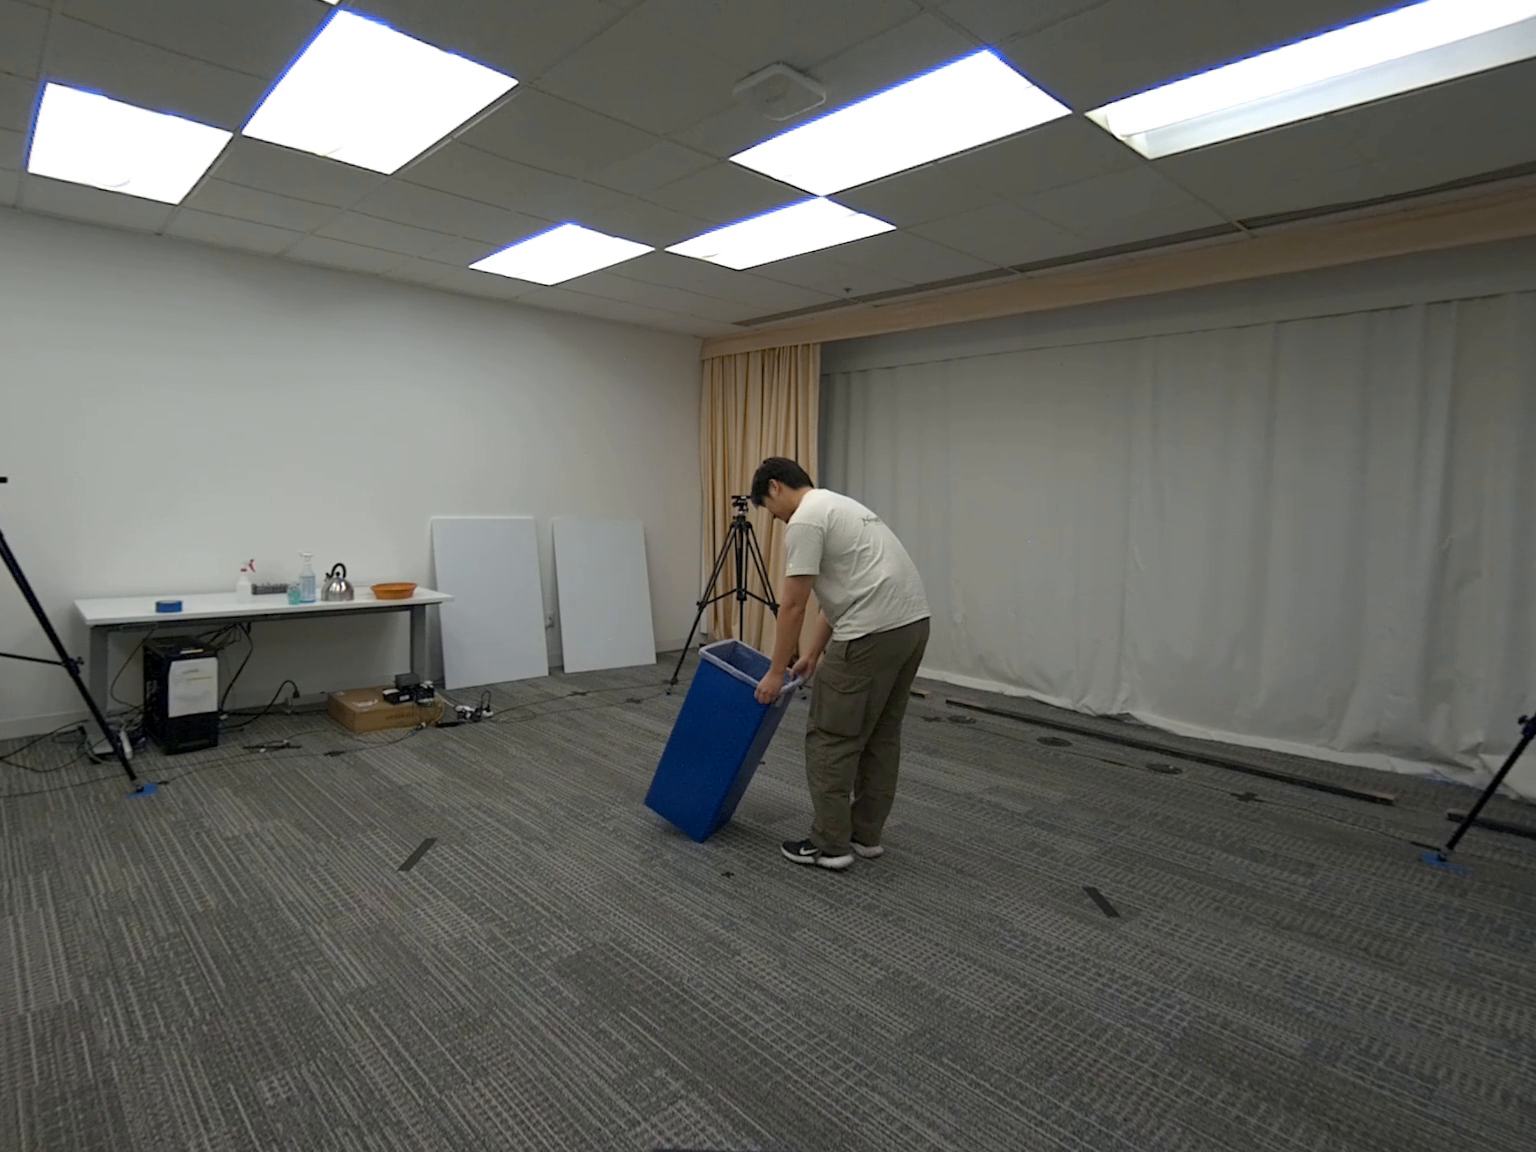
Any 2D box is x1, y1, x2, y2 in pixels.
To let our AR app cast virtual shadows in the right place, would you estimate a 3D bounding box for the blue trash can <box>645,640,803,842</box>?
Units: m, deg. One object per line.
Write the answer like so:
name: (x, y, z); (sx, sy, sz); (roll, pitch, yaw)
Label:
blue trash can: (-0.211, 0.674, 3.484); (0.381, 0.711, 0.372); (29, 12, 18)
